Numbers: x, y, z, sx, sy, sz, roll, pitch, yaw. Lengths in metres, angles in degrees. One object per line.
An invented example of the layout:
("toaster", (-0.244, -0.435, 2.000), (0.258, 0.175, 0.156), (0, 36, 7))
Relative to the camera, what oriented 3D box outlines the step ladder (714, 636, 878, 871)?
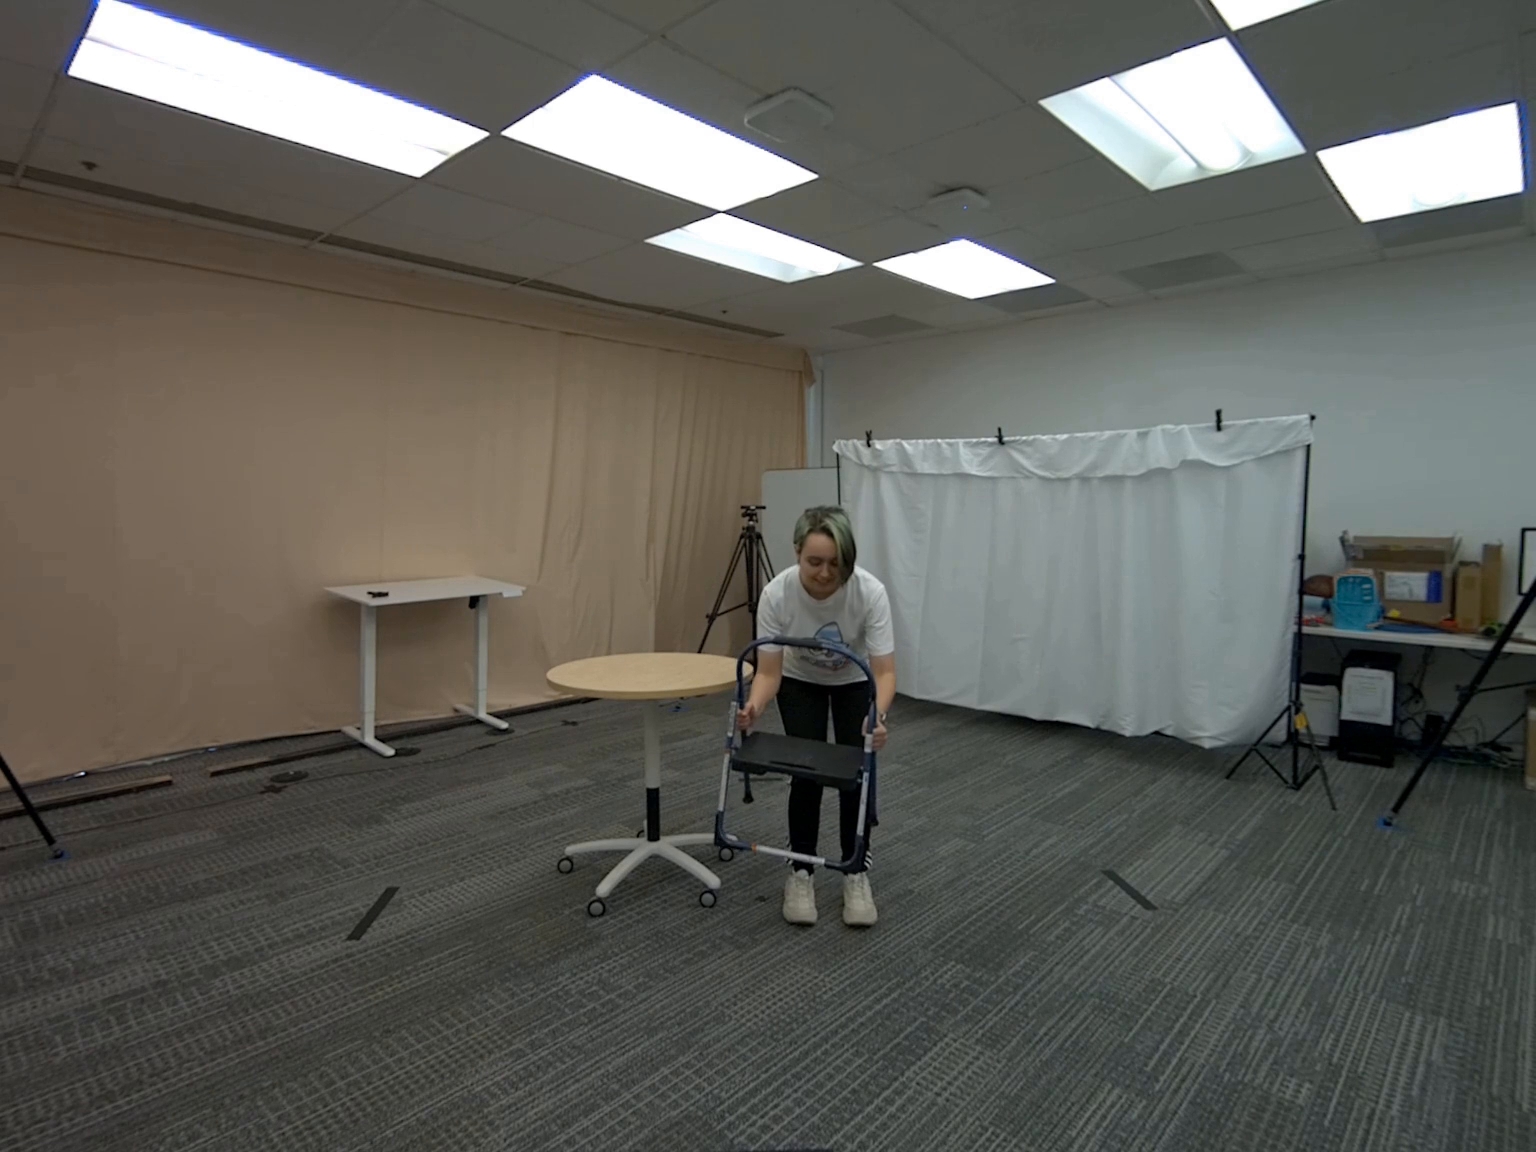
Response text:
("step ladder", (0.102, 0.467, 2.436), (0.439, 0.603, 0.344), (5, 8, 16))
